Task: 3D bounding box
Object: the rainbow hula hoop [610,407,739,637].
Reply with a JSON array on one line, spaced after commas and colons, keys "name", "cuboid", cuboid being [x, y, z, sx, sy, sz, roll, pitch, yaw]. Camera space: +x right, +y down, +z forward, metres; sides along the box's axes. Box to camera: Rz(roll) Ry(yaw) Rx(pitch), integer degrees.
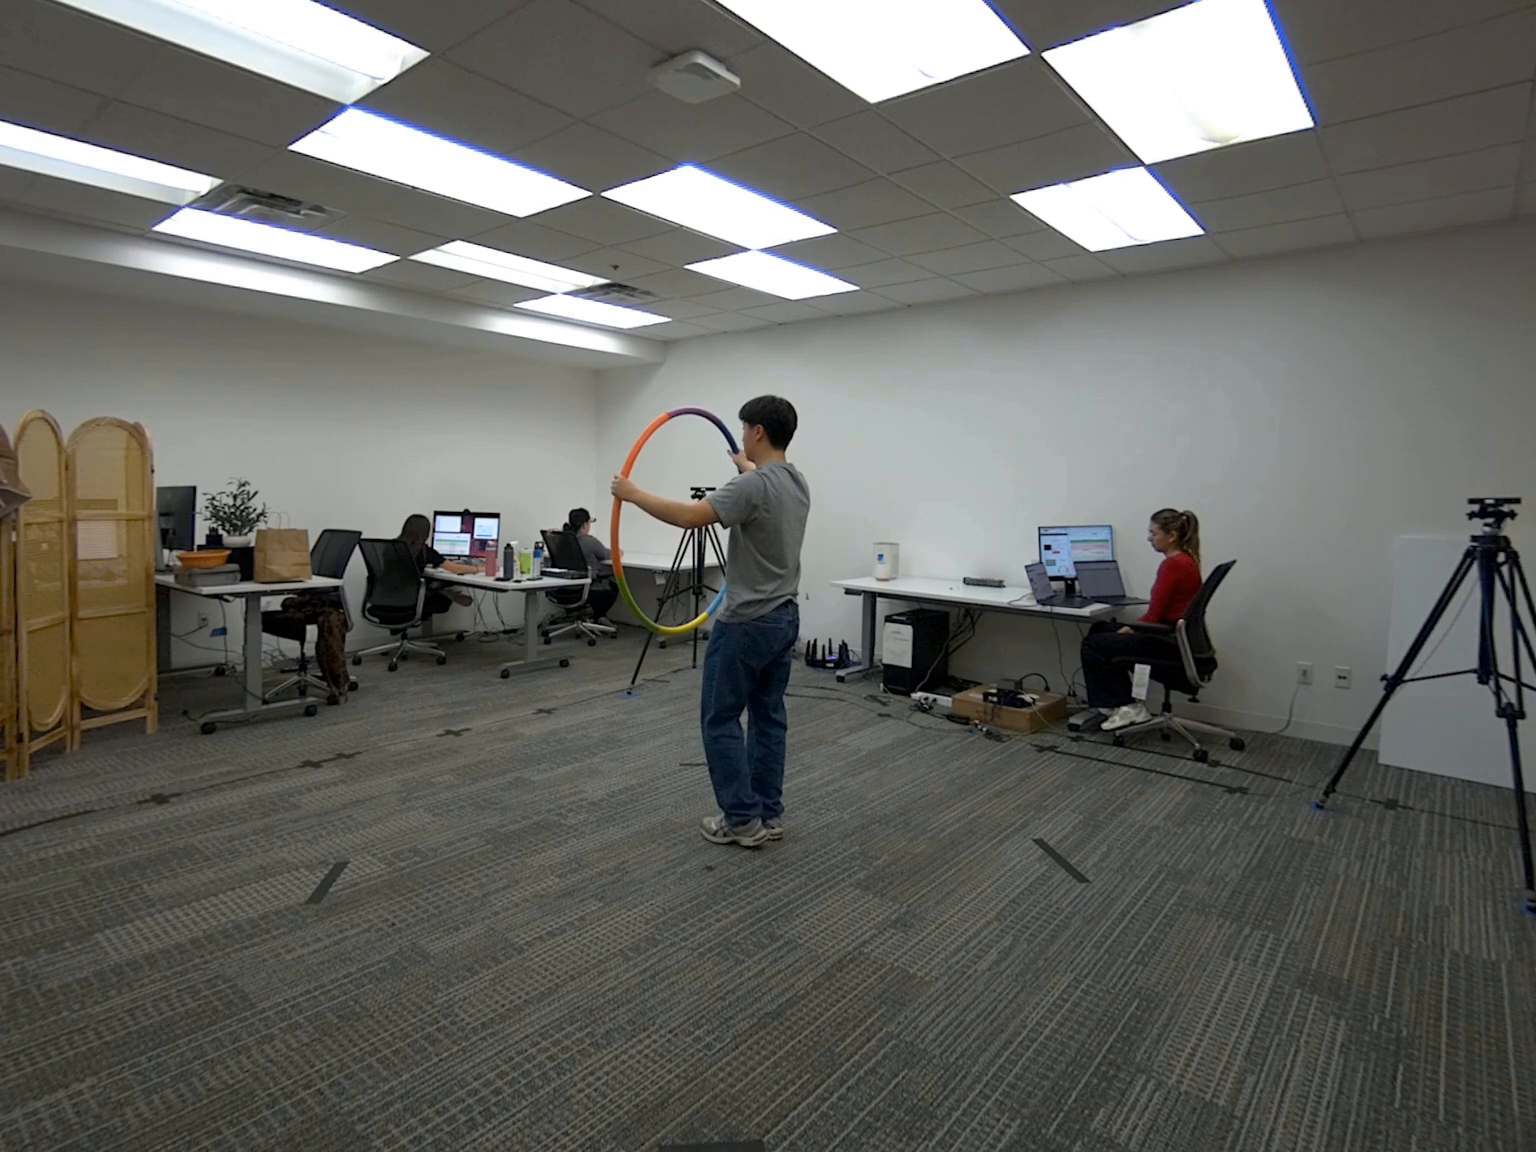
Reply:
[{"name": "rainbow hula hoop", "cuboid": [-0.366, -0.238, 3.657, 0.037, 0.974, 0.953, 7, 7, 30]}]
